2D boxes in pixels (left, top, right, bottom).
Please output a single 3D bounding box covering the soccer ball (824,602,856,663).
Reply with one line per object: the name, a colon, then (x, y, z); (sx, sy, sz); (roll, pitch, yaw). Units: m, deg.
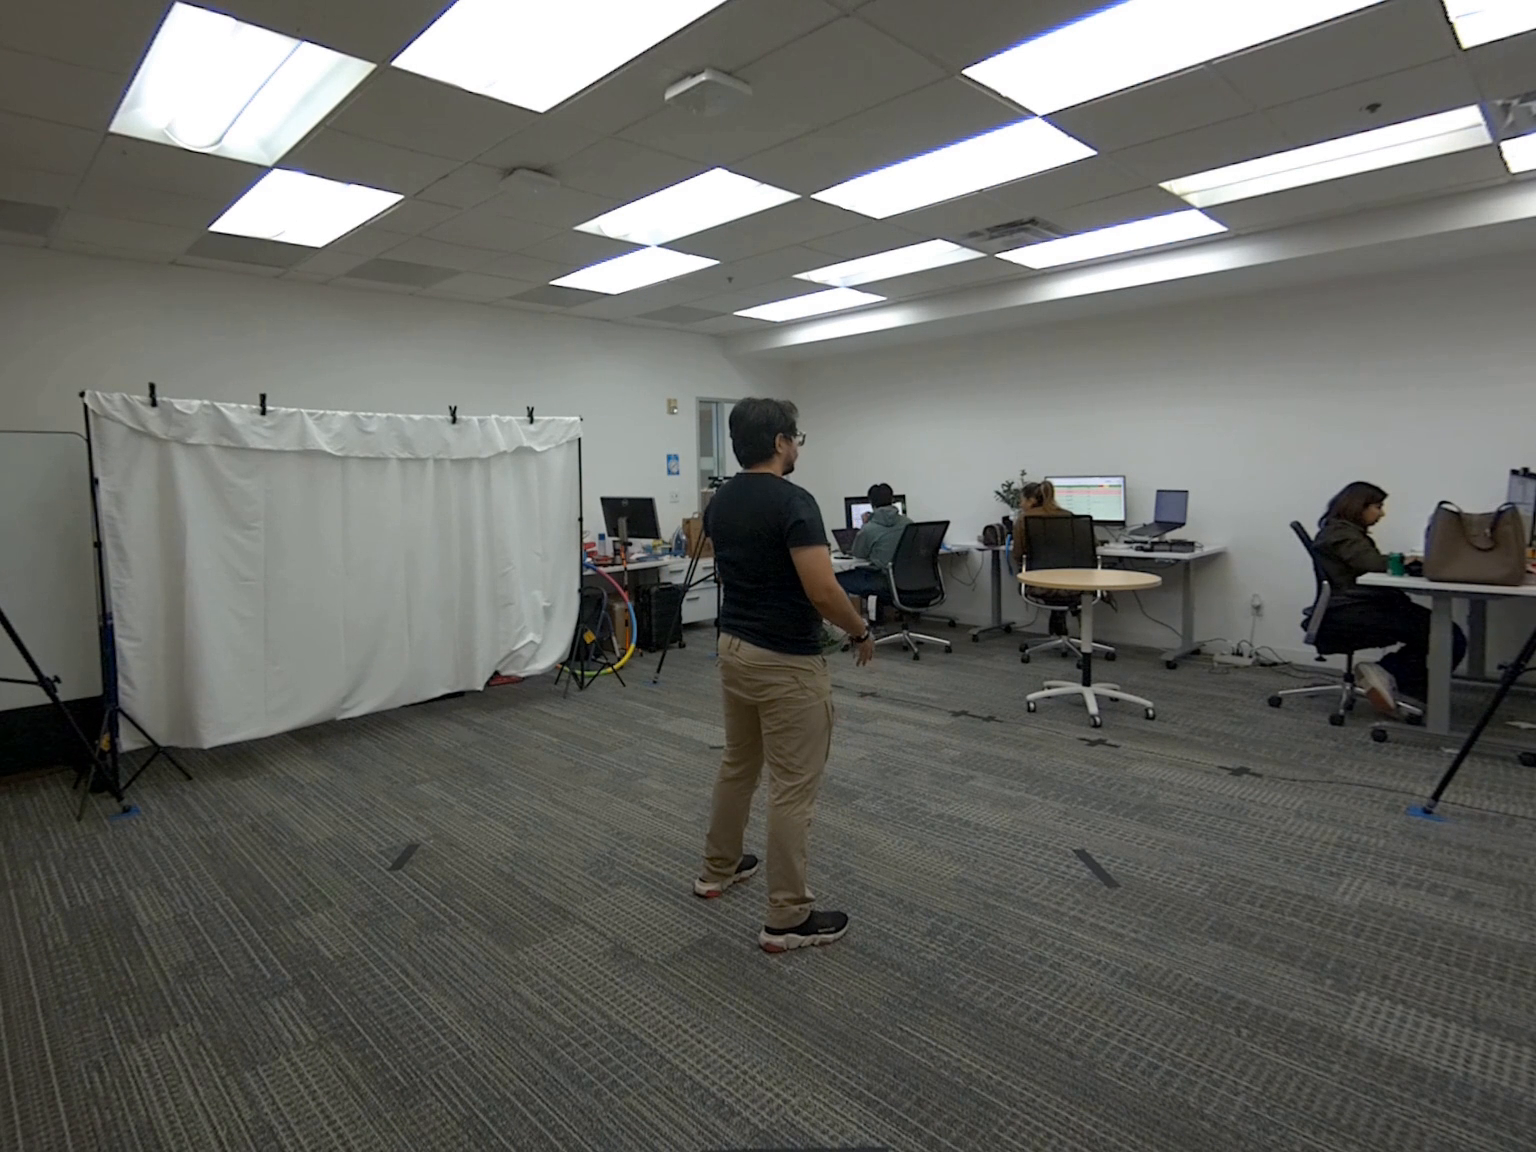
soccer ball: (0.187, 0.178, 2.912); (0.187, 0.187, 0.188); (-1, 5, -2)
